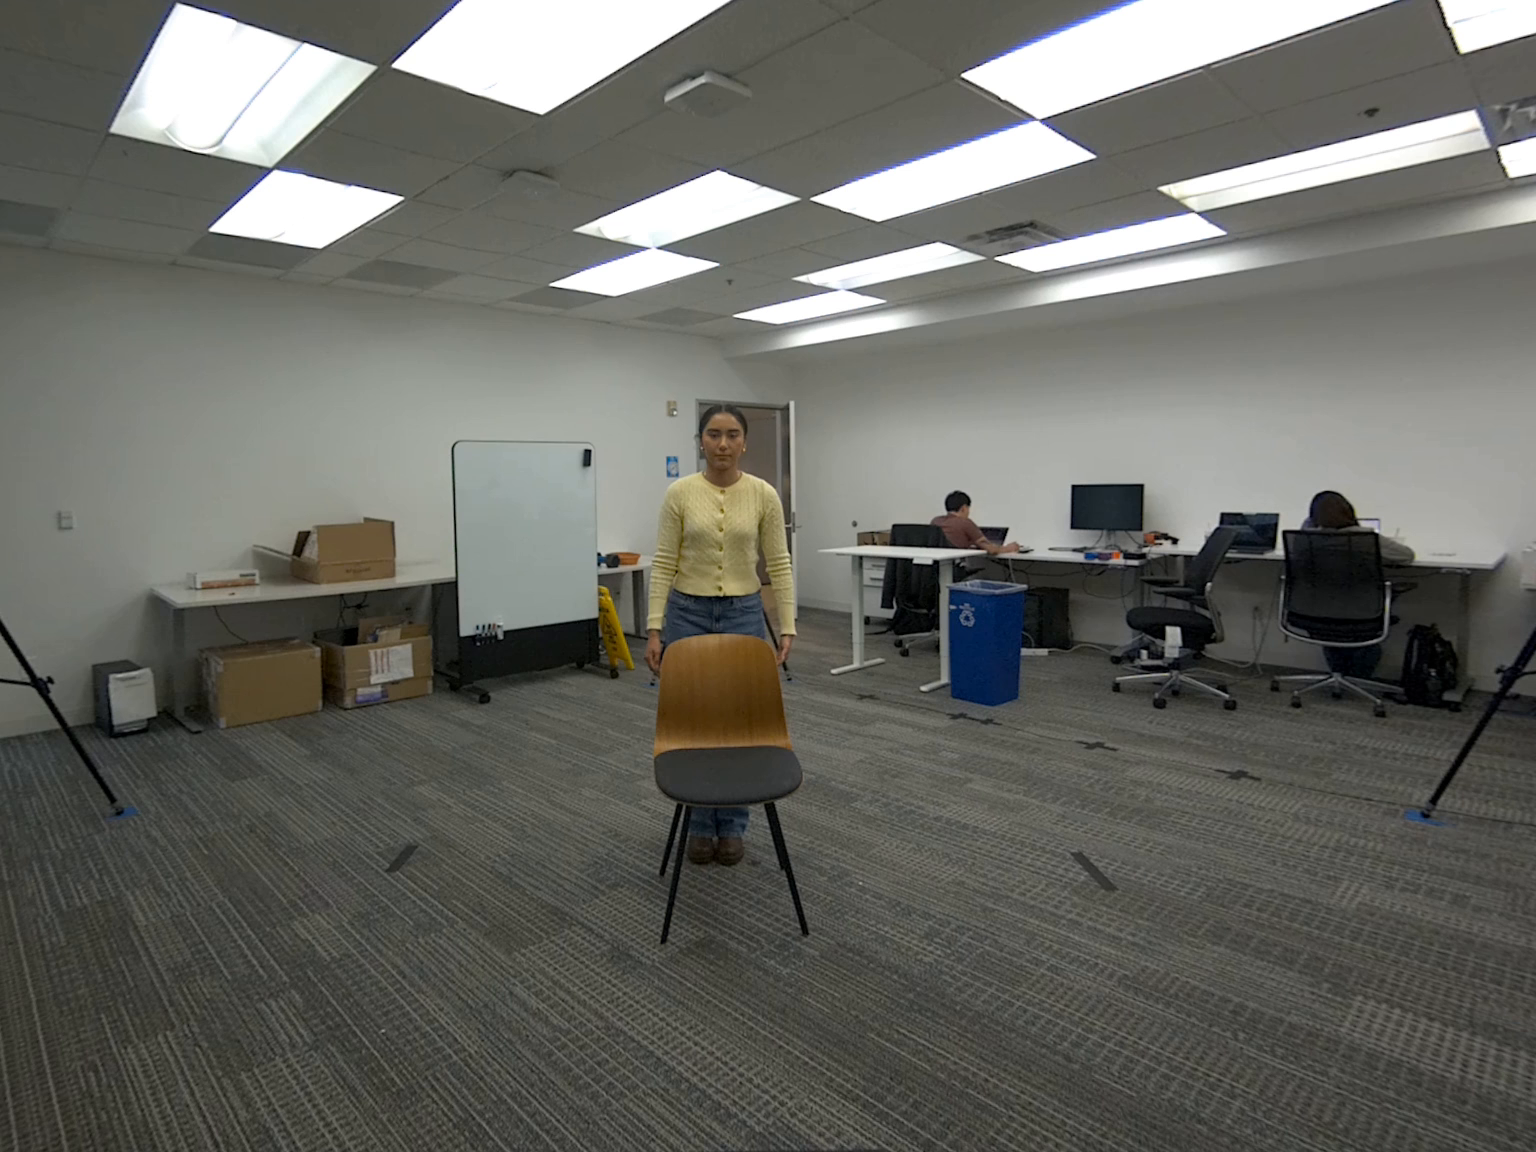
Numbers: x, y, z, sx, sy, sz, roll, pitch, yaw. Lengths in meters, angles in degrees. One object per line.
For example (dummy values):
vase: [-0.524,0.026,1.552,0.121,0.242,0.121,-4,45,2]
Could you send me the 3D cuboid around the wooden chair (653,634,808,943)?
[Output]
wooden chair: [-0.136,0.660,2.770,0.475,0.877,0.526,-1,1,-7]
